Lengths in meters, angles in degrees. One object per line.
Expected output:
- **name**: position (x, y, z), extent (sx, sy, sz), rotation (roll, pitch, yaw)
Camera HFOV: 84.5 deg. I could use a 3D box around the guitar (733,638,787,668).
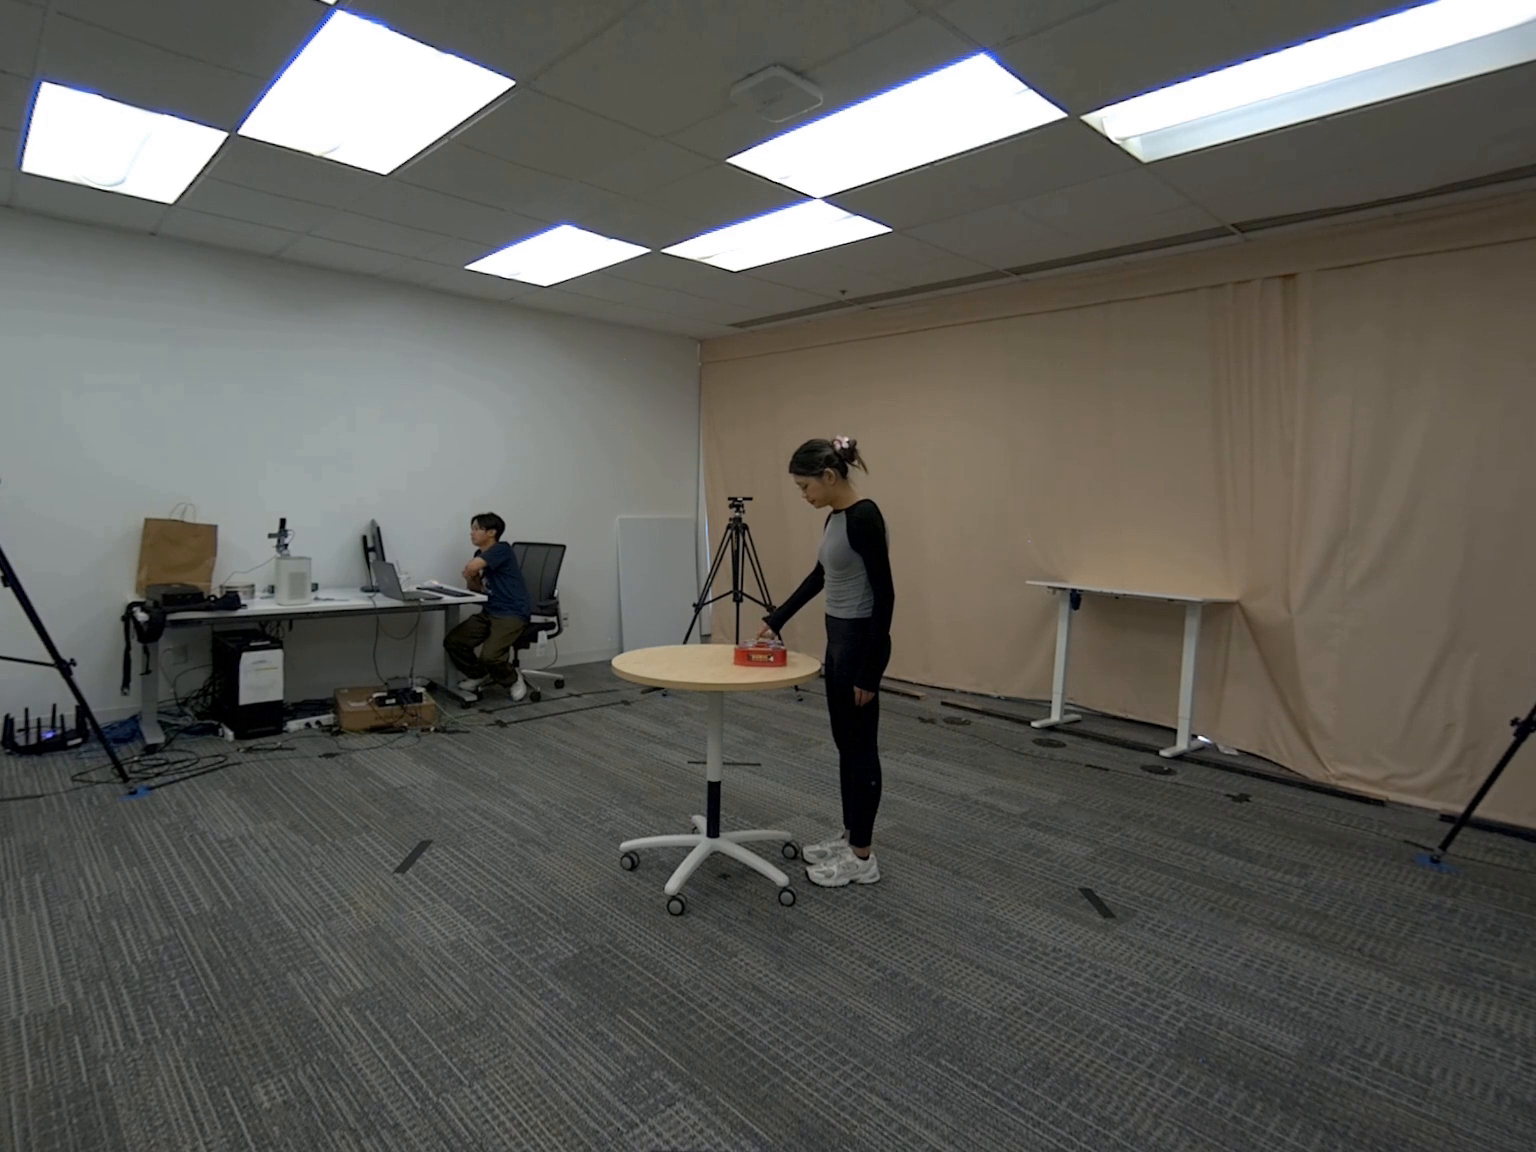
- **guitar**: position (0.009, 0.269, 3.239), extent (0.195, 0.070, 0.494), rotation (0, 5, 12)
